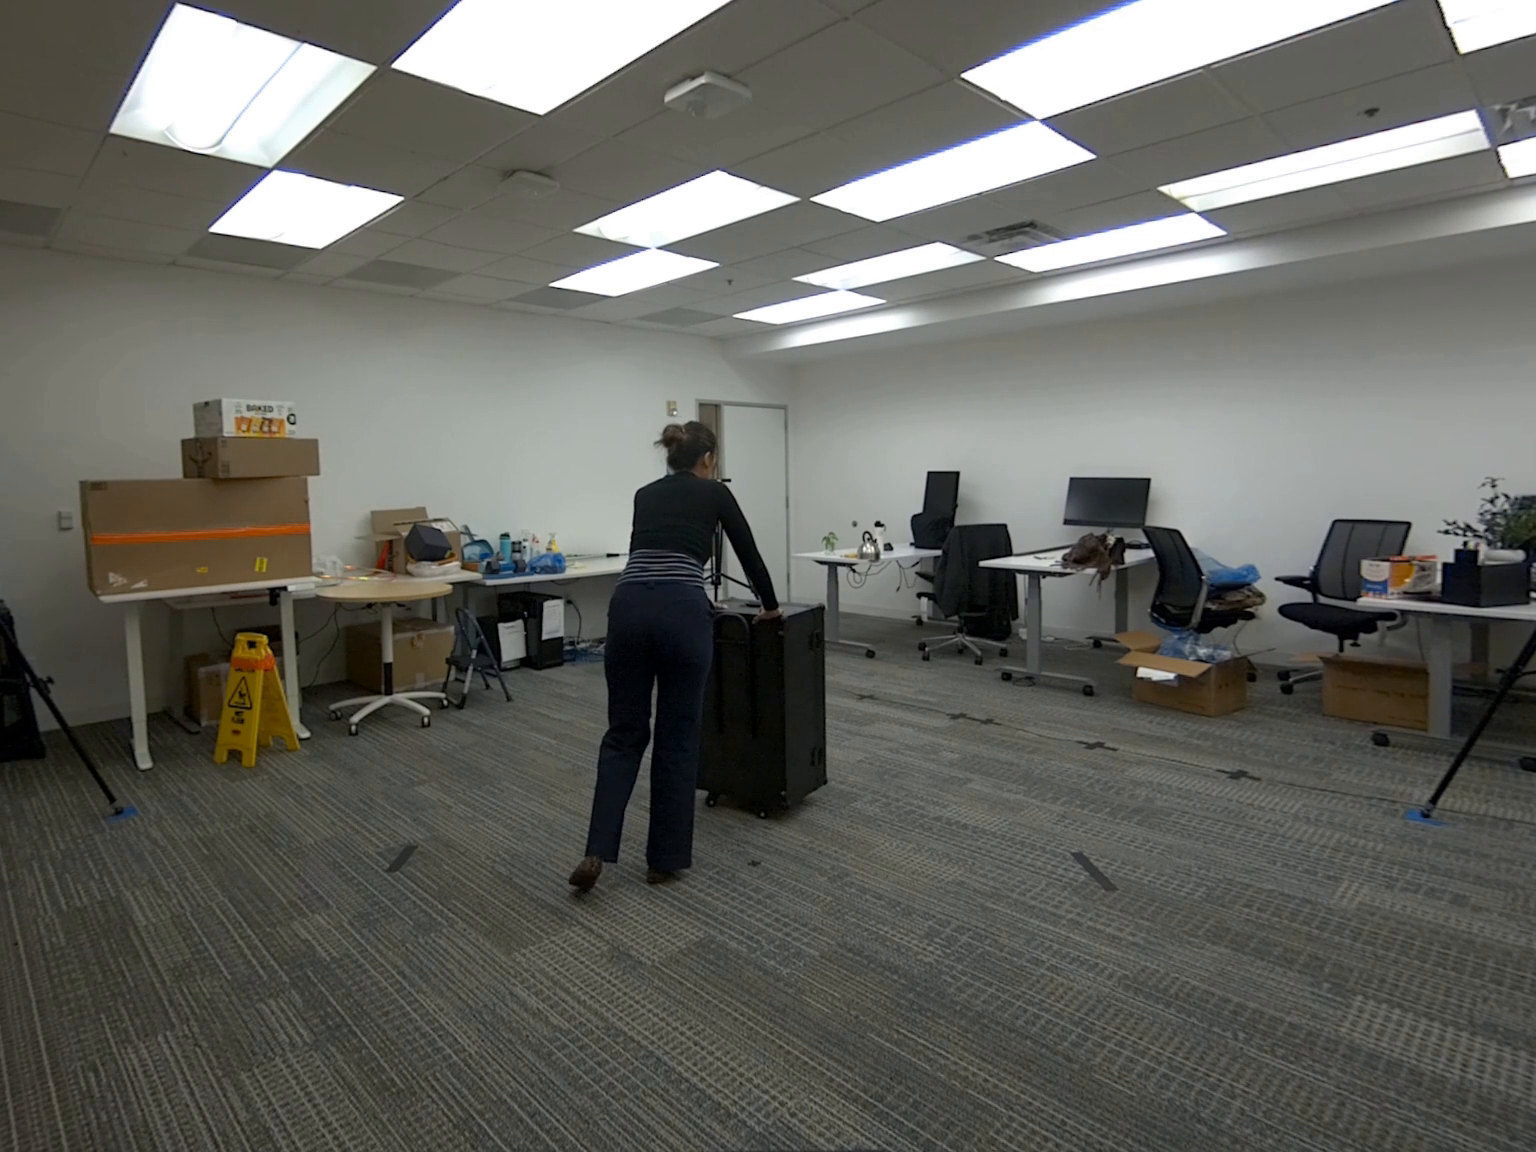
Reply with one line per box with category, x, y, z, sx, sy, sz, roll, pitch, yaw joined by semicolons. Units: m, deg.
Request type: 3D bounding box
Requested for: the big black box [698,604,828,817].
big black box;-0.045;0.554;3.667;0.536;0.858;0.387;2;6;33
